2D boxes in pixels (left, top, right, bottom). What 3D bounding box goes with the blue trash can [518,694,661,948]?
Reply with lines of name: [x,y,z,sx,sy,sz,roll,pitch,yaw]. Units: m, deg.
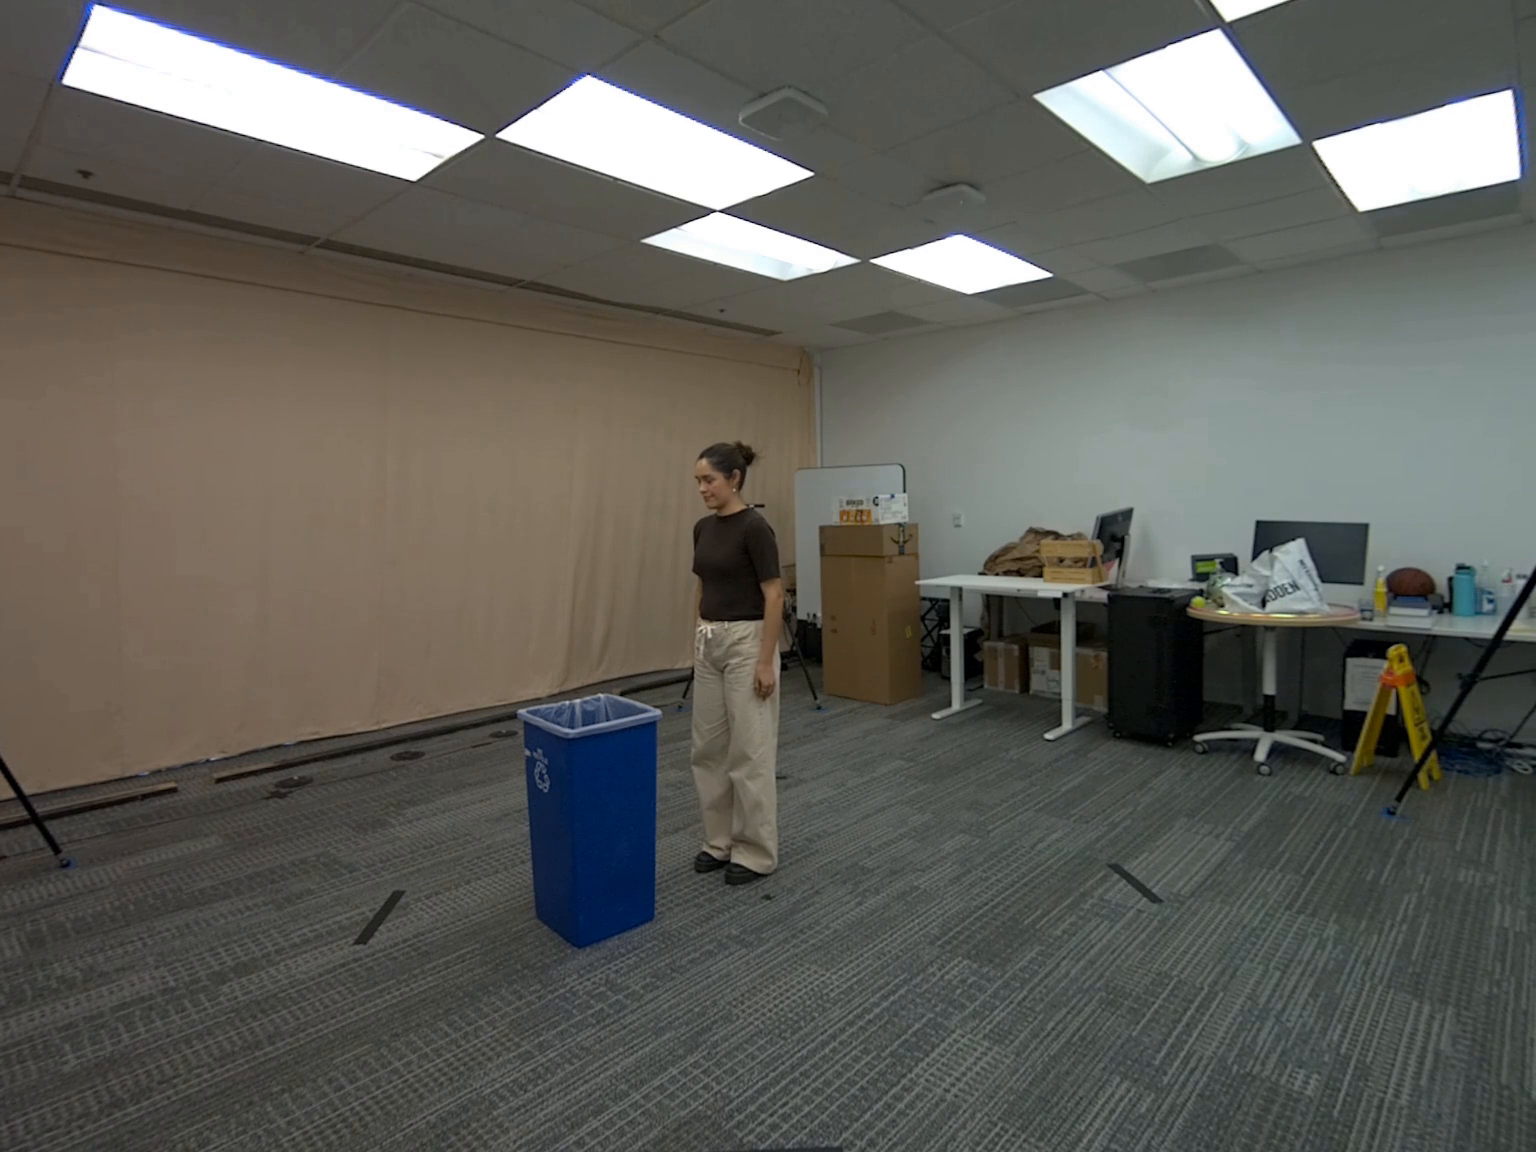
blue trash can: [-0.599,0.809,2.835,0.363,0.712,0.390,-4,5,-41]
